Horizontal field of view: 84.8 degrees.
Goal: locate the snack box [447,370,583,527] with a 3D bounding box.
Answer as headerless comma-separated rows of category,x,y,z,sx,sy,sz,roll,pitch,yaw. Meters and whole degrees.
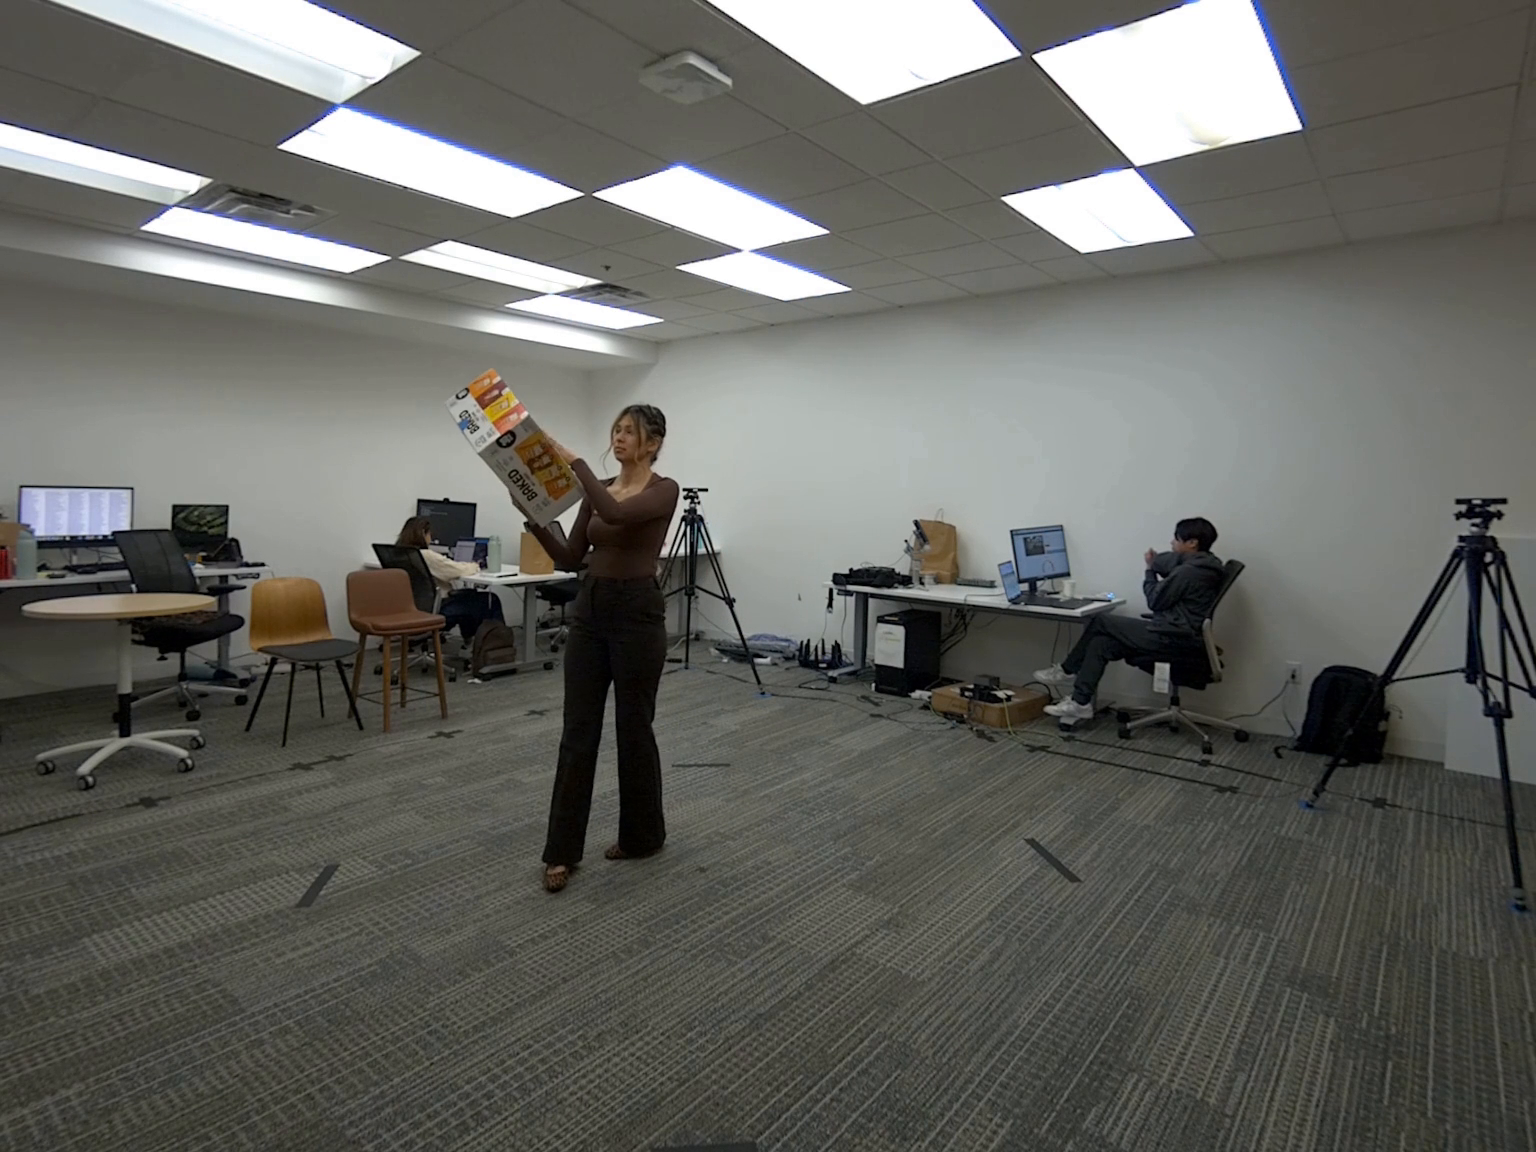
snack box,-0.869,-0.436,2.877,0.355,0.205,0.389,48,-8,39
